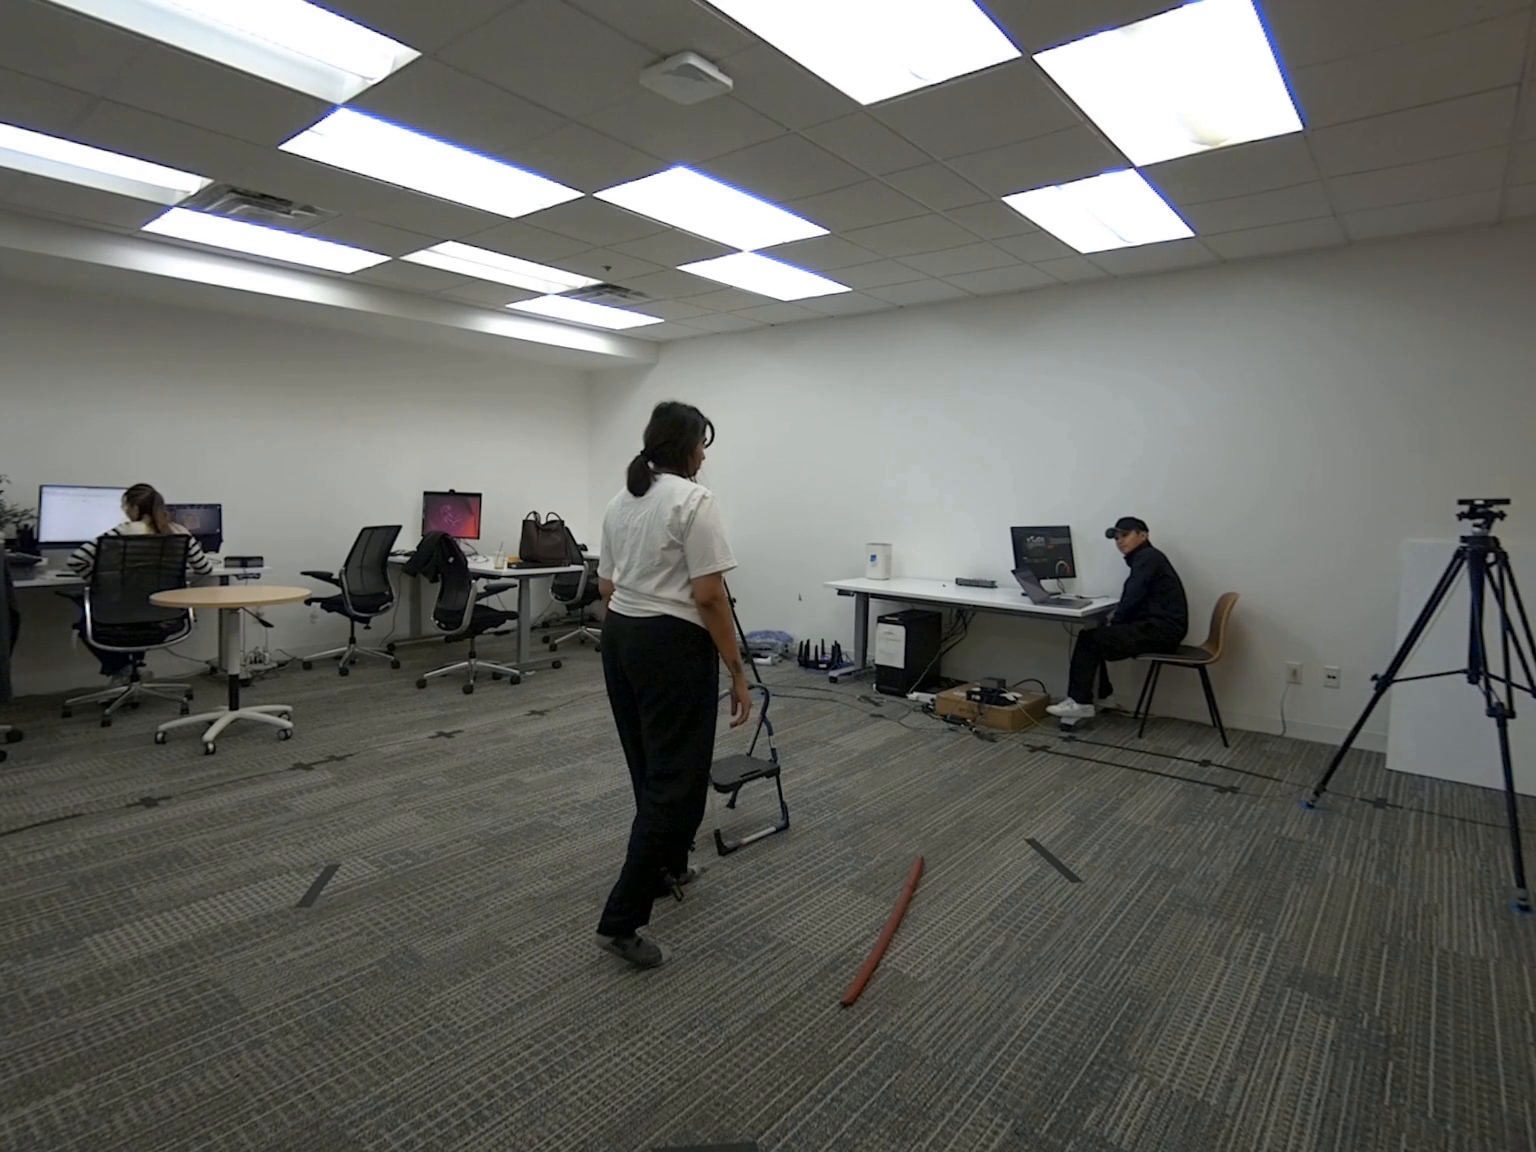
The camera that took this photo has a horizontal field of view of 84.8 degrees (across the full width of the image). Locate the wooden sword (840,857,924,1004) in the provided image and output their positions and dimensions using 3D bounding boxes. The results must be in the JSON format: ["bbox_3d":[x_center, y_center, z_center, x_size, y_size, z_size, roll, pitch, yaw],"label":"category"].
[{"bbox_3d":[0.386,1.091,2.761,0.052,0.024,1.003,-9,1,23],"label":"wooden sword"}]
